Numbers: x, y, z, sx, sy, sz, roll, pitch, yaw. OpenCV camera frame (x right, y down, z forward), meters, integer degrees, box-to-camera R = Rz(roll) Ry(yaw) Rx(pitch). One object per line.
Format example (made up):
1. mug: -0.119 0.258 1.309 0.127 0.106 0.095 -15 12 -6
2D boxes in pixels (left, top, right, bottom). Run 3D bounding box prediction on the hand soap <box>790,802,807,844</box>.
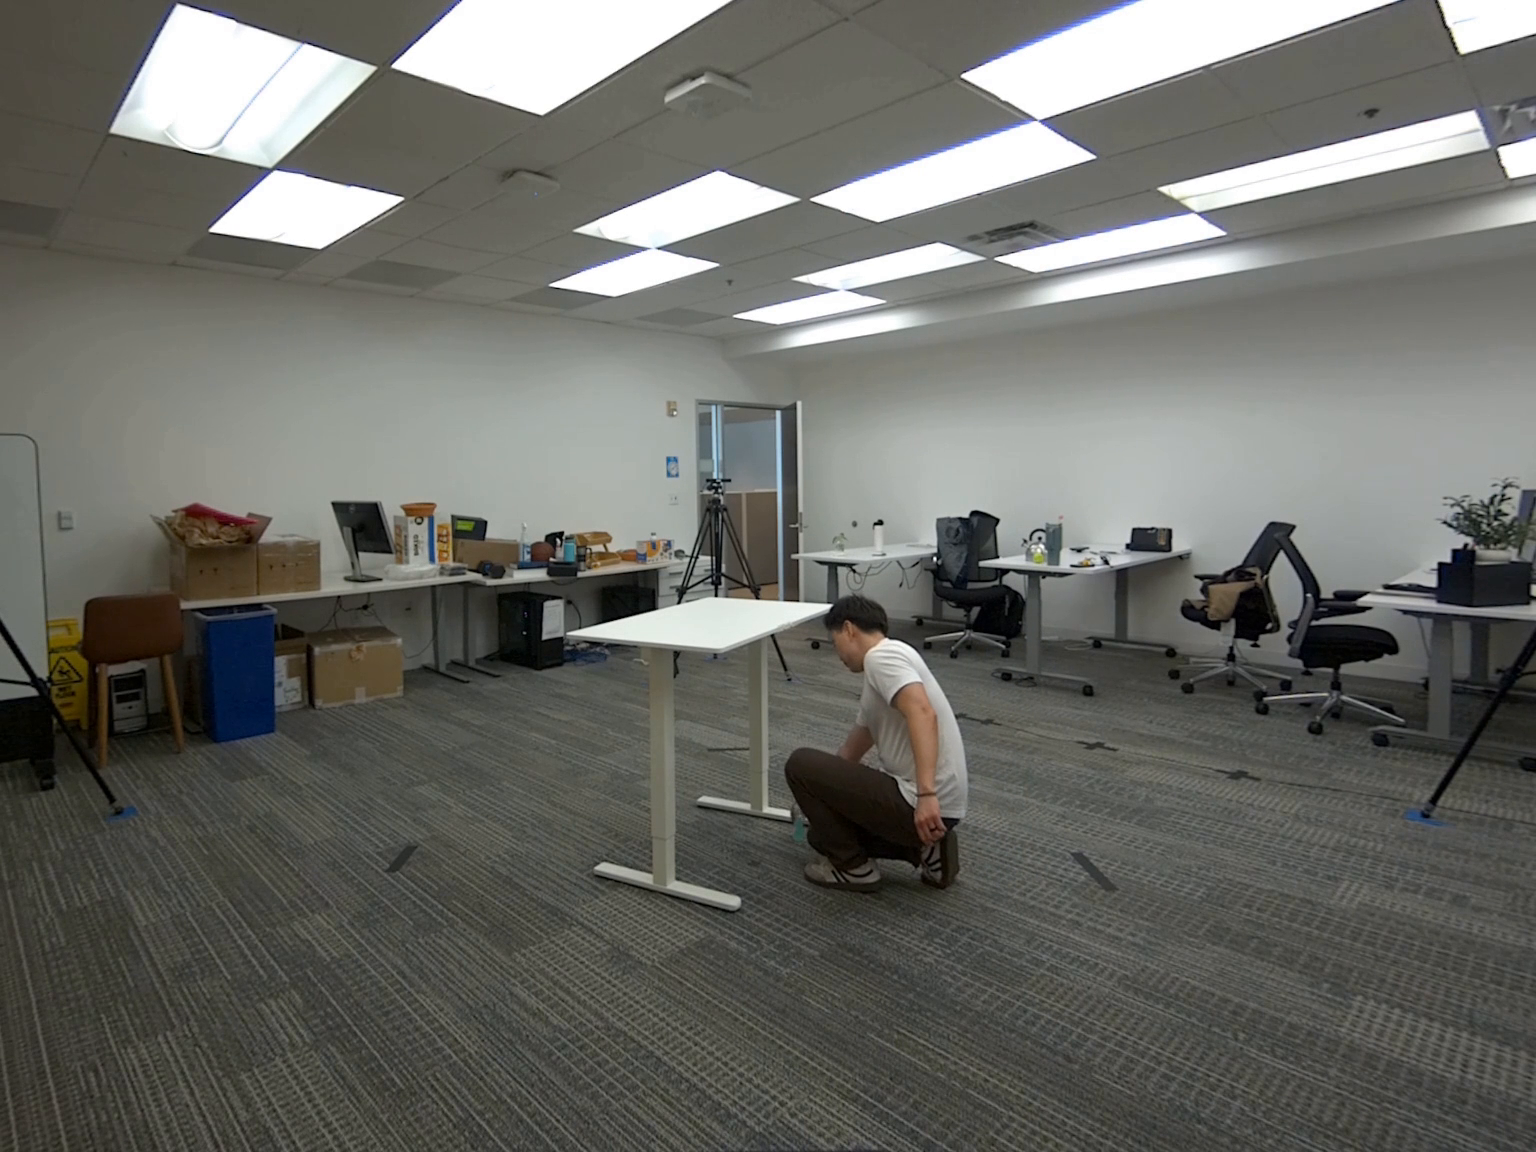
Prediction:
1. hand soap: 0.118 0.940 3.309 0.043 0.168 0.085 -3 1 -8
